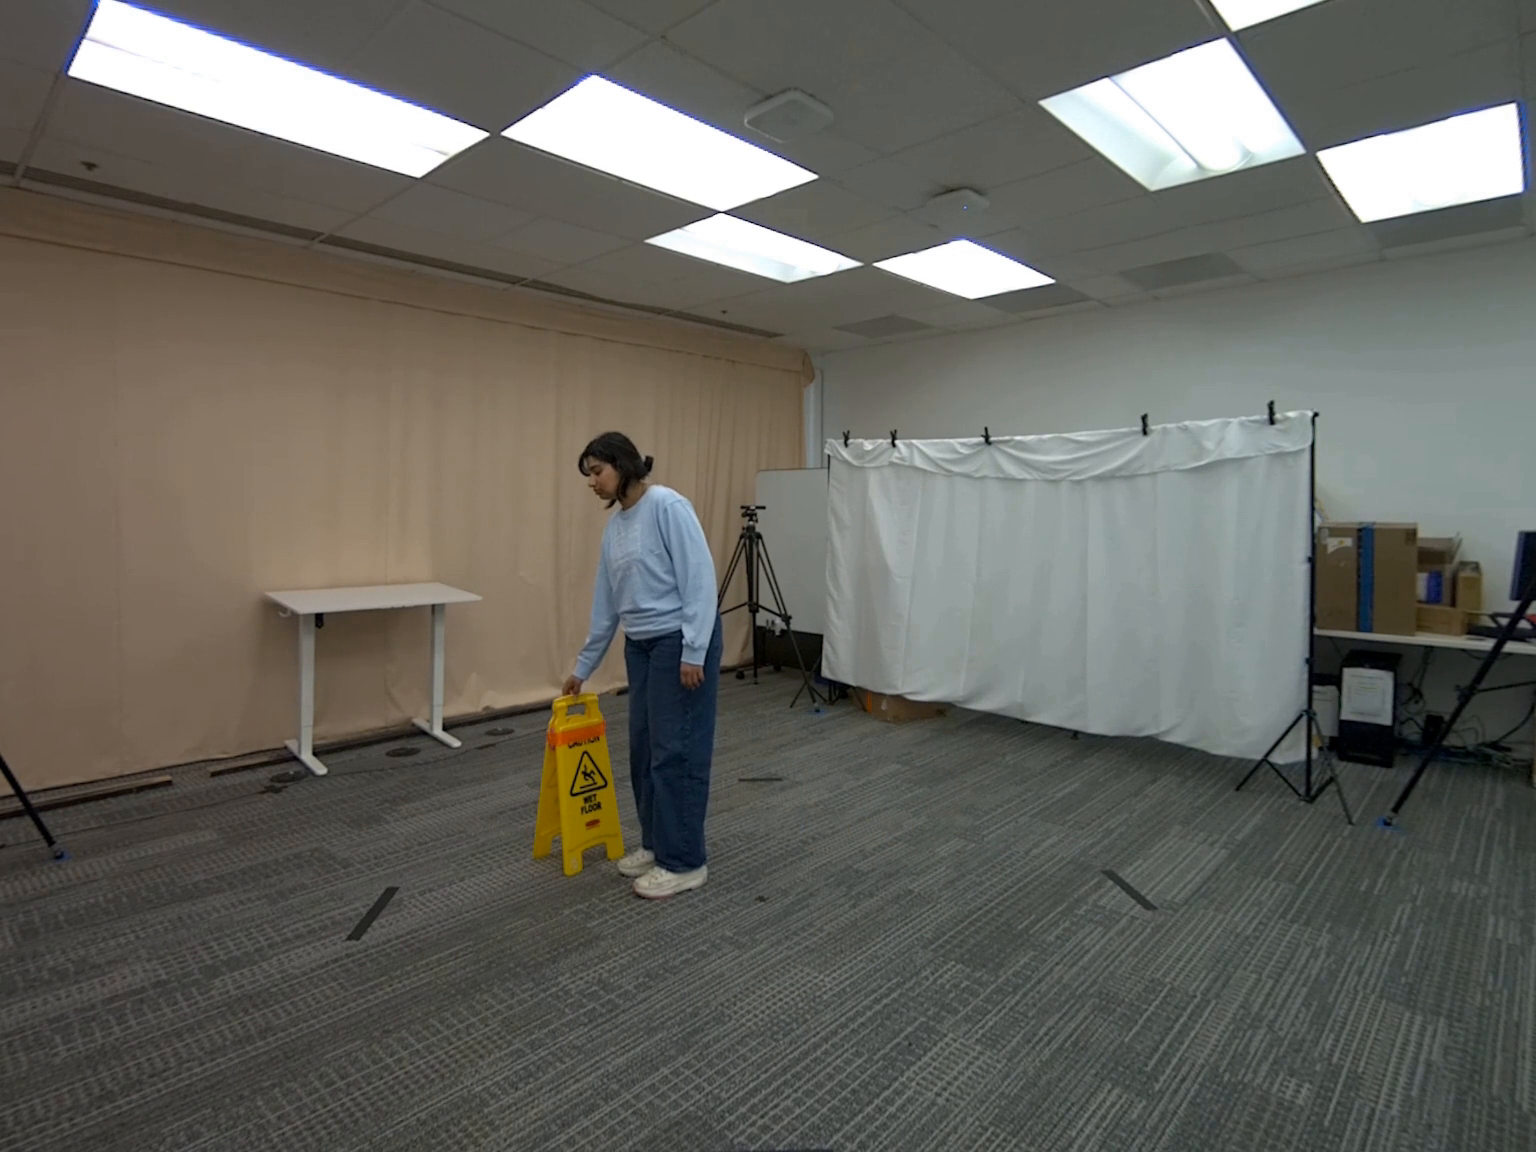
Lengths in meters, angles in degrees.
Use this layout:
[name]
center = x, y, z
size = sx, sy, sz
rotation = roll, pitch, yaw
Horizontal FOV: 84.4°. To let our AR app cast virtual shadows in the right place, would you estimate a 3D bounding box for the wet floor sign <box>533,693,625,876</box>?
[wet floor sign]
center = -0.759, 0.799, 3.340
size = 0.299, 0.645, 0.273
rotation = 1, 2, 43
